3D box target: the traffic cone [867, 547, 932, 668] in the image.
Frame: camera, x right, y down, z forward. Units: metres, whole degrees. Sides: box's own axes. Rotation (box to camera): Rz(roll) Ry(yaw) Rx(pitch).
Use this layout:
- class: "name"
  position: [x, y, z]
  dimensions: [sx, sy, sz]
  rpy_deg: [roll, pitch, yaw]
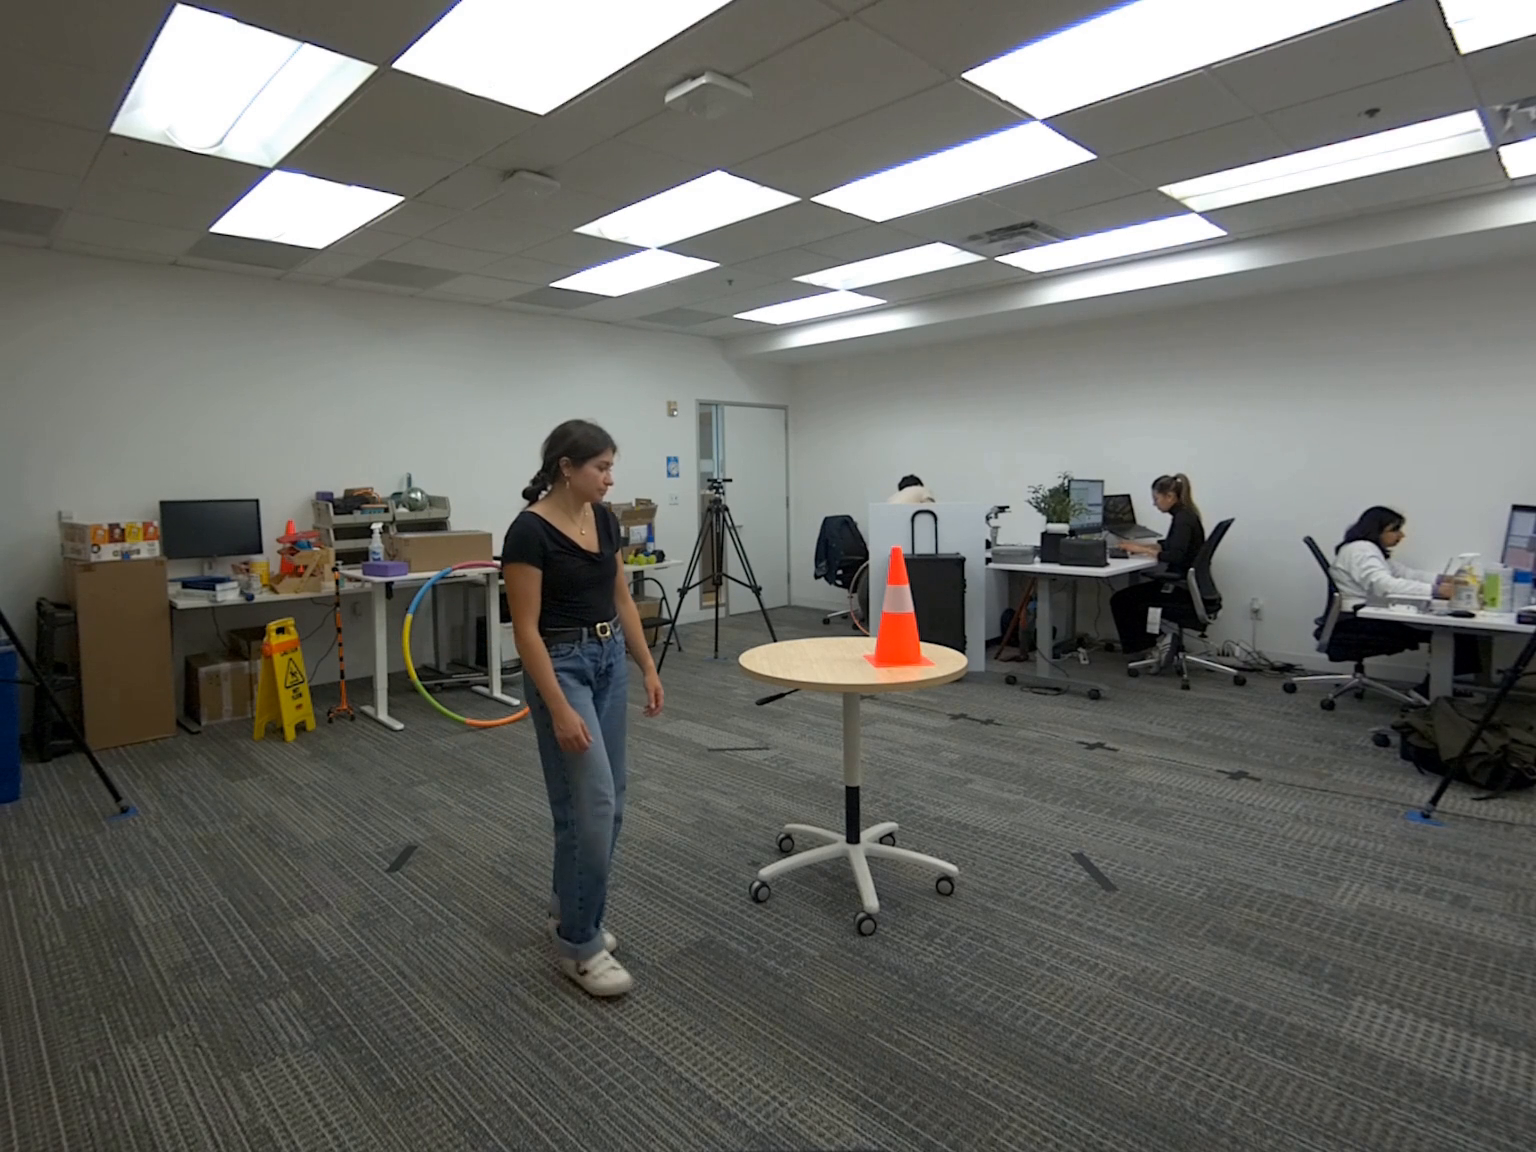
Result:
- class: "traffic cone"
  position: [0.434, 0.097, 2.839]
  dimensions: [0.203, 0.382, 0.206]
  rpy_deg: [-4, 4, -12]
